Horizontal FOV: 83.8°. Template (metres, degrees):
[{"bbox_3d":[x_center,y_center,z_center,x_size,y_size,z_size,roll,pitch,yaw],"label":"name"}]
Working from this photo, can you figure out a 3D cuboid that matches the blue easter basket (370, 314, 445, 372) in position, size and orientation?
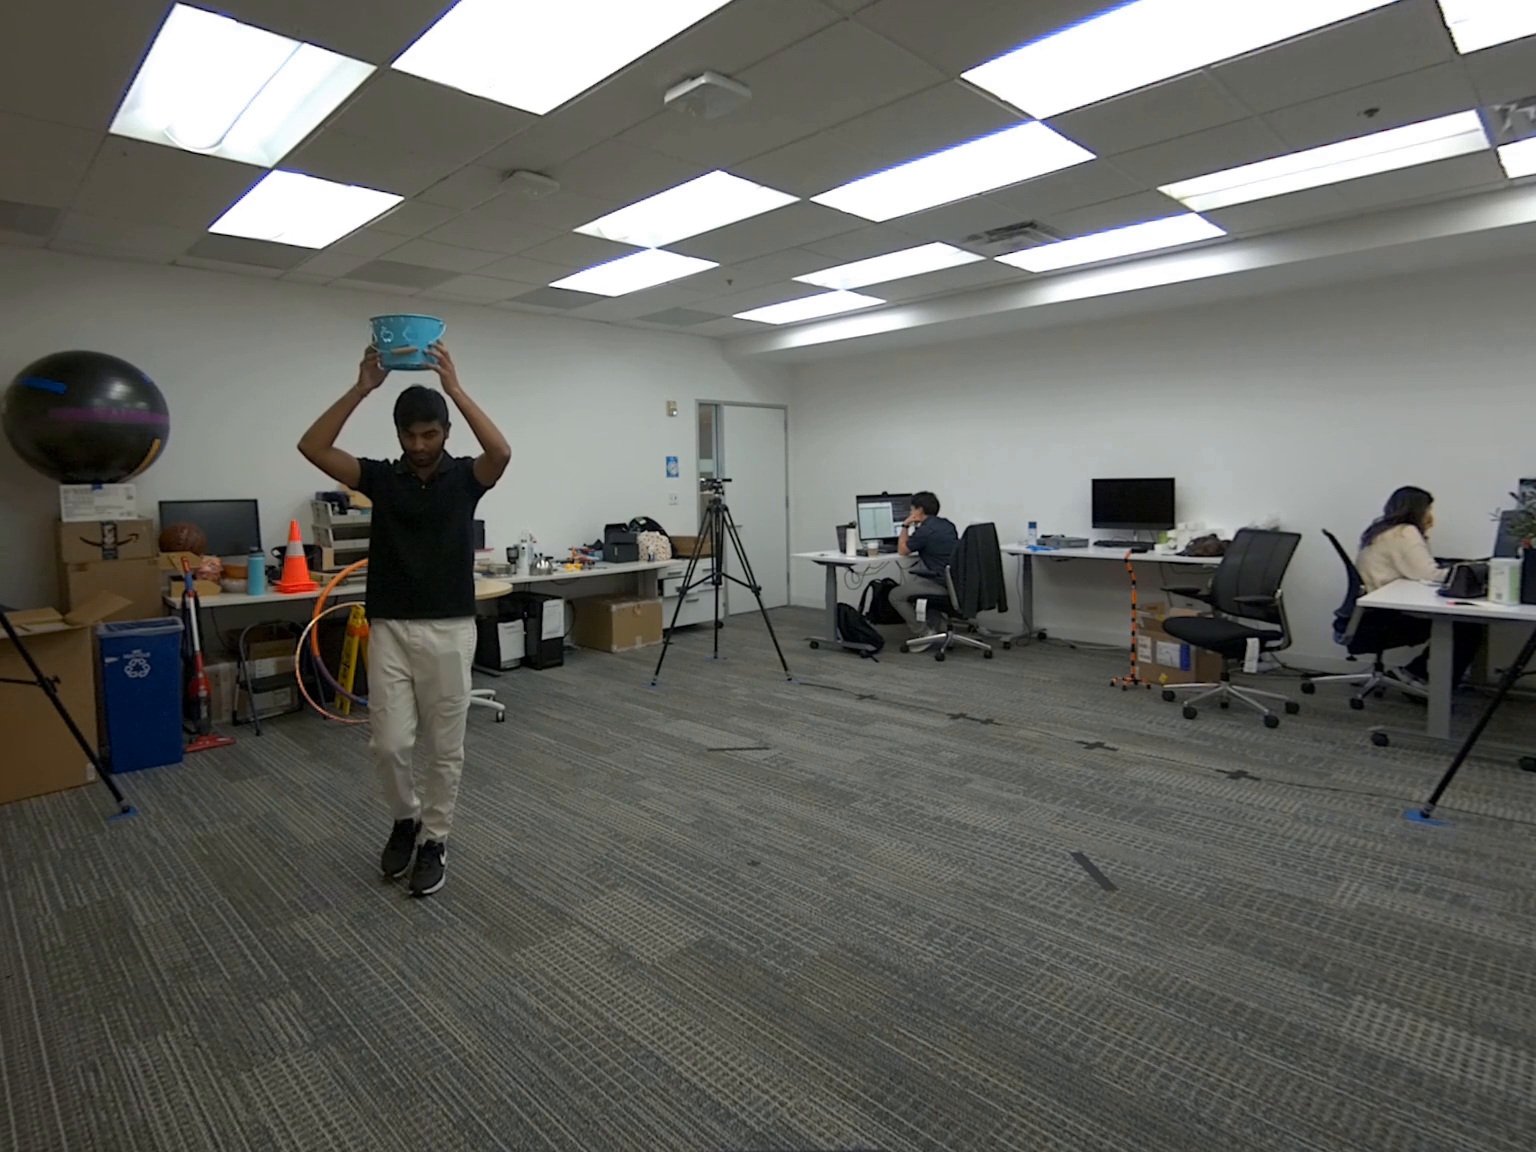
[{"bbox_3d":[-1.197,-0.762,2.817,0.243,0.155,0.245,-3,7,-1],"label":"blue easter basket"}]
